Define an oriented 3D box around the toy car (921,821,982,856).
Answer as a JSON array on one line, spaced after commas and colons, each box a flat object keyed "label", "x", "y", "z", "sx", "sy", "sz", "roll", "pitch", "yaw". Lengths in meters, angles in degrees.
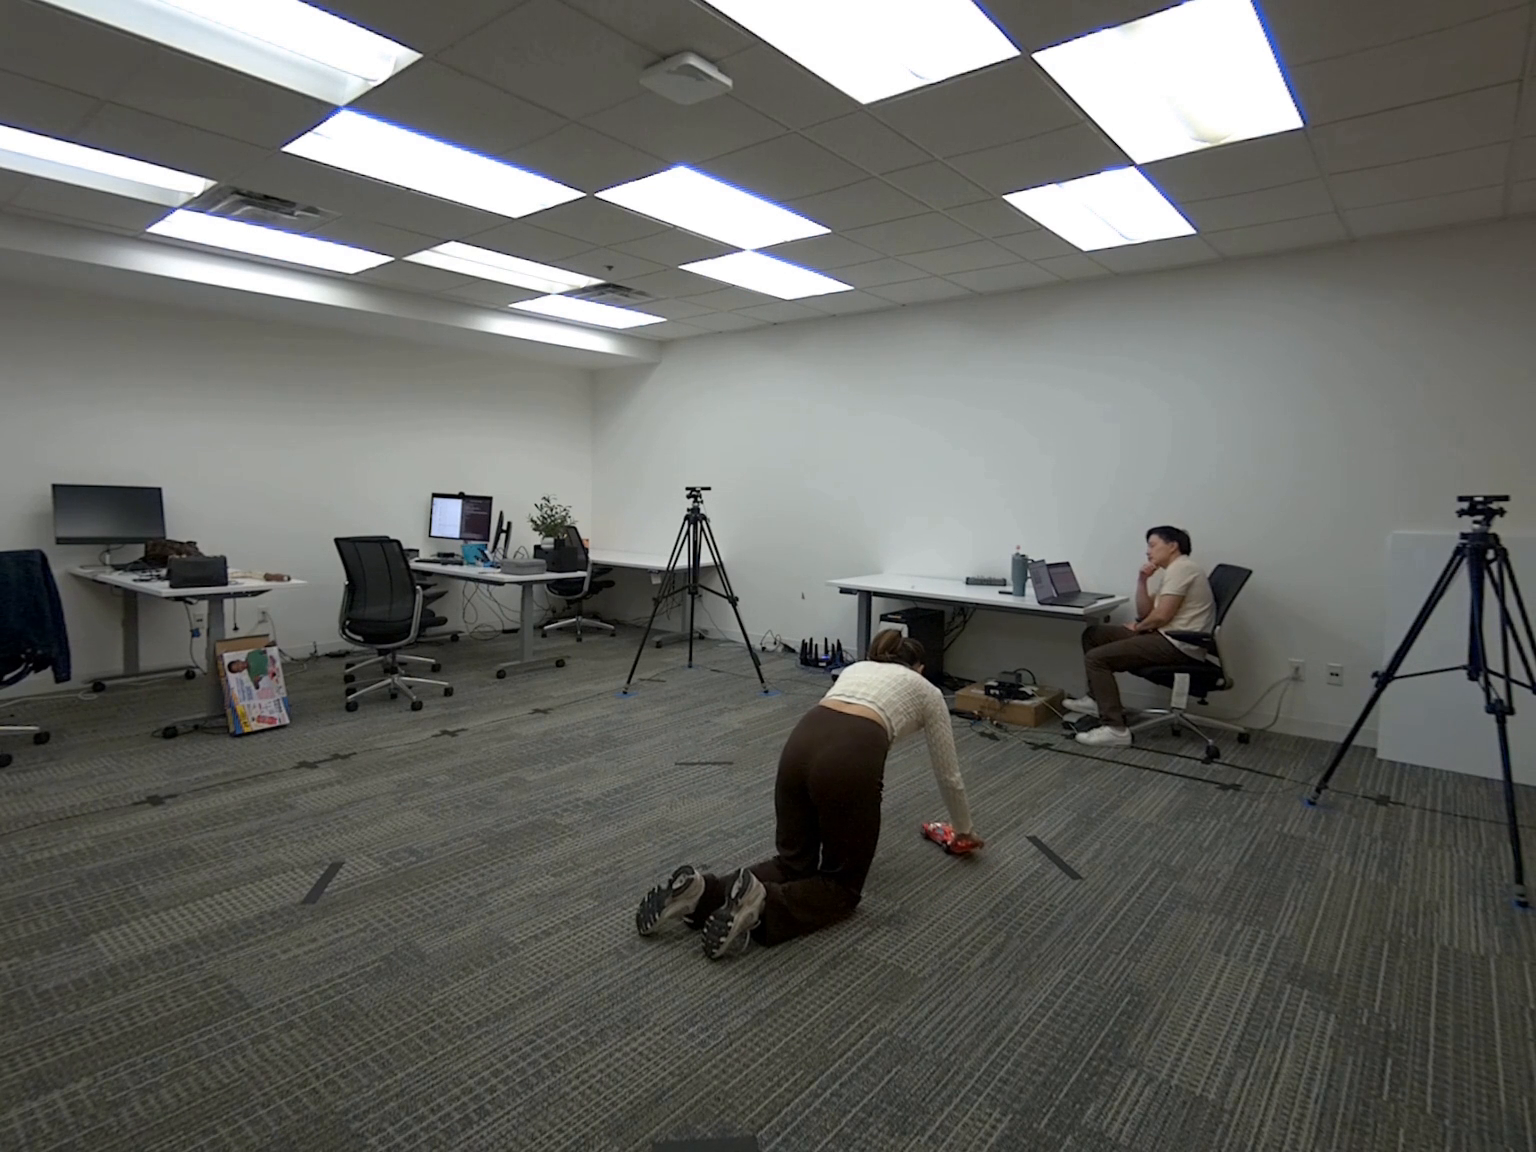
[{"label": "toy car", "x": 0.710, "y": 1.029, "z": 3.356, "sx": 0.127, "sy": 0.083, "sz": 0.259, "roll": 0, "pitch": -4, "yaw": -24}]
